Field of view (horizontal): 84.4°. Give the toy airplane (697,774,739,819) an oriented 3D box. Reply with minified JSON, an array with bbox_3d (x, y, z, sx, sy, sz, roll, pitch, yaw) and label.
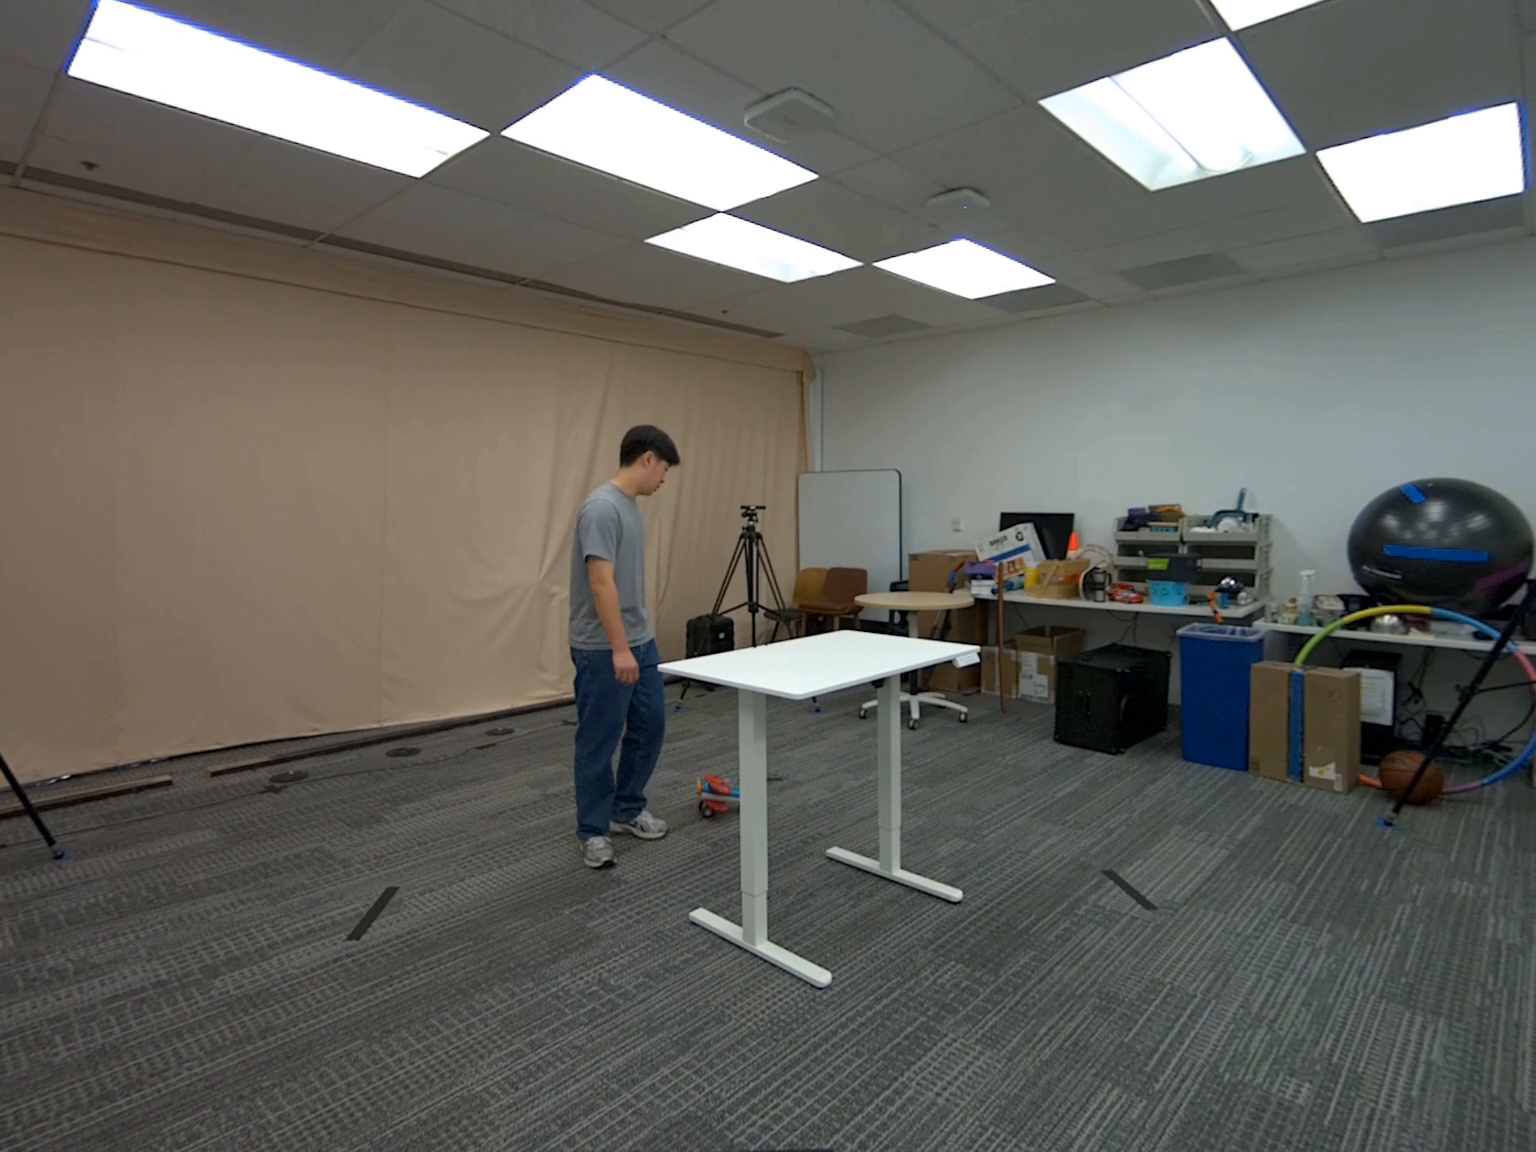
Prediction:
[{"bbox_3d":[-0.207,1.002,3.848,0.259,0.156,0.251,4,7,45],"label":"toy airplane"}]
